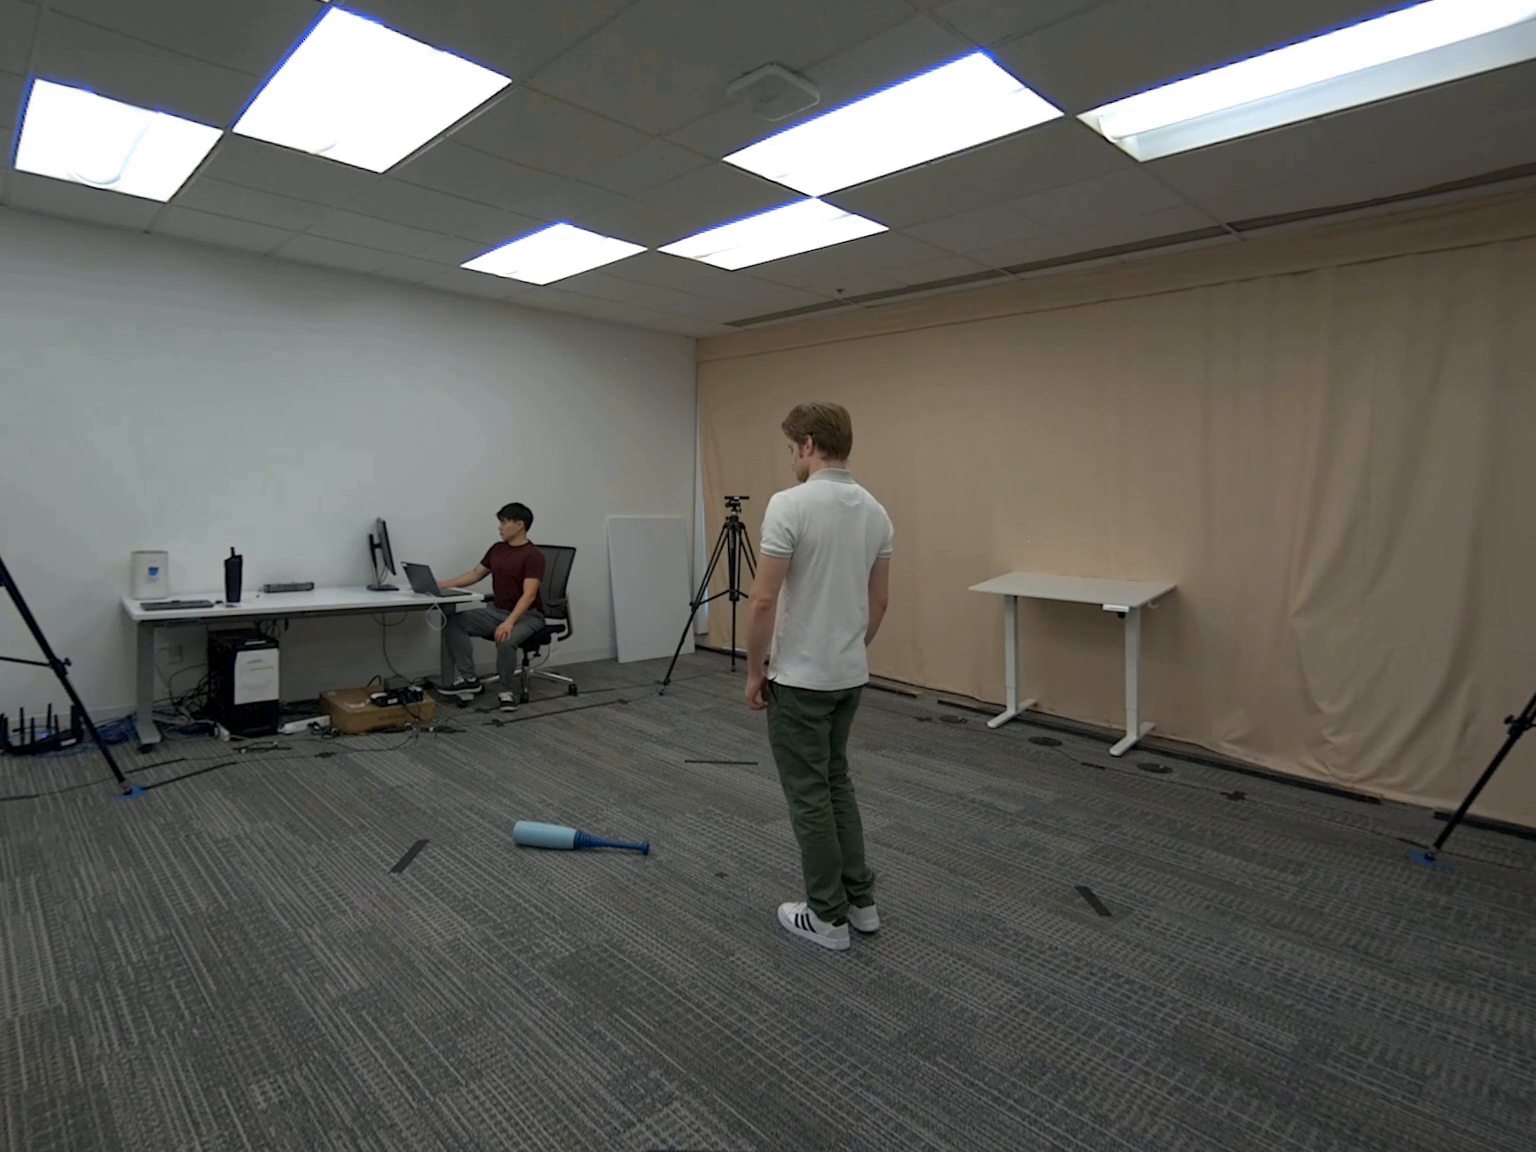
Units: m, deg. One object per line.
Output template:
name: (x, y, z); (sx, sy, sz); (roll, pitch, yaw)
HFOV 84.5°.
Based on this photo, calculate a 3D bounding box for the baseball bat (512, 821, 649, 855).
baseball bat: (-0.735, 1.038, 3.295); (0.546, 0.089, 0.089); (6, 5, 7)
